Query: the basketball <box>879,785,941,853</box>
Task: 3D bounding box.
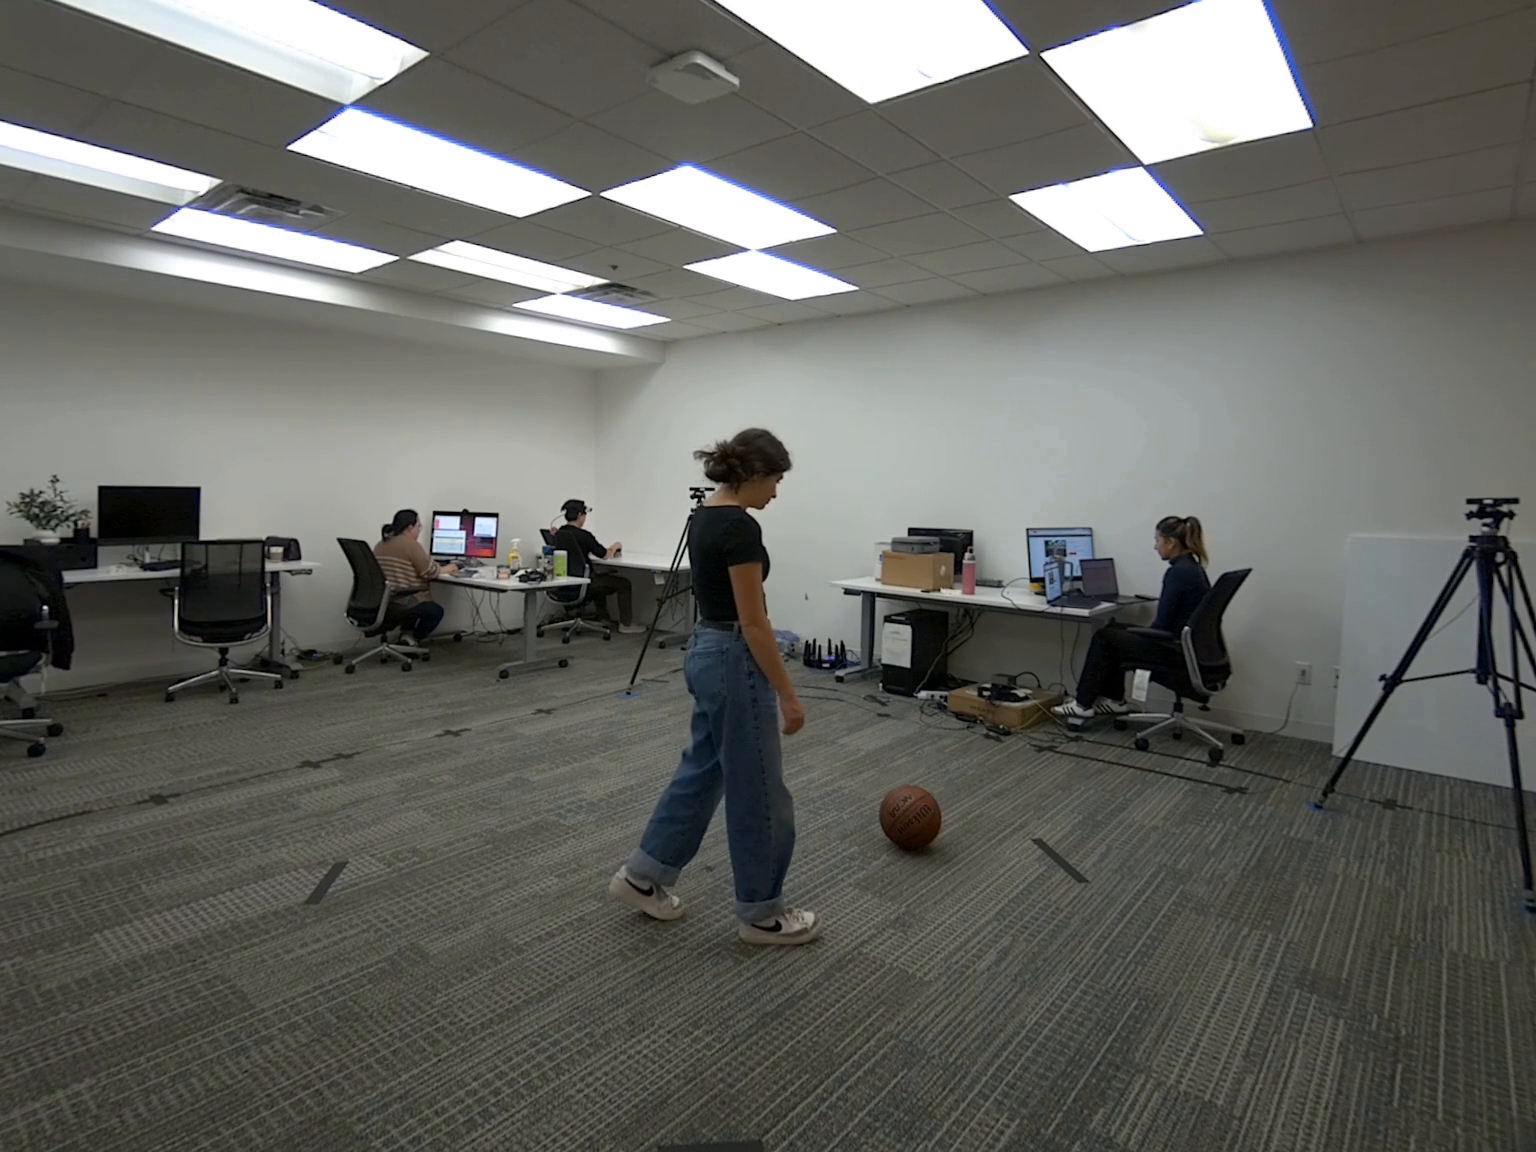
[{"bbox_3d":[0.552,0.936,3.341,0.235,0.235,0.237,1,4,-2],"label":"basketball"}]
